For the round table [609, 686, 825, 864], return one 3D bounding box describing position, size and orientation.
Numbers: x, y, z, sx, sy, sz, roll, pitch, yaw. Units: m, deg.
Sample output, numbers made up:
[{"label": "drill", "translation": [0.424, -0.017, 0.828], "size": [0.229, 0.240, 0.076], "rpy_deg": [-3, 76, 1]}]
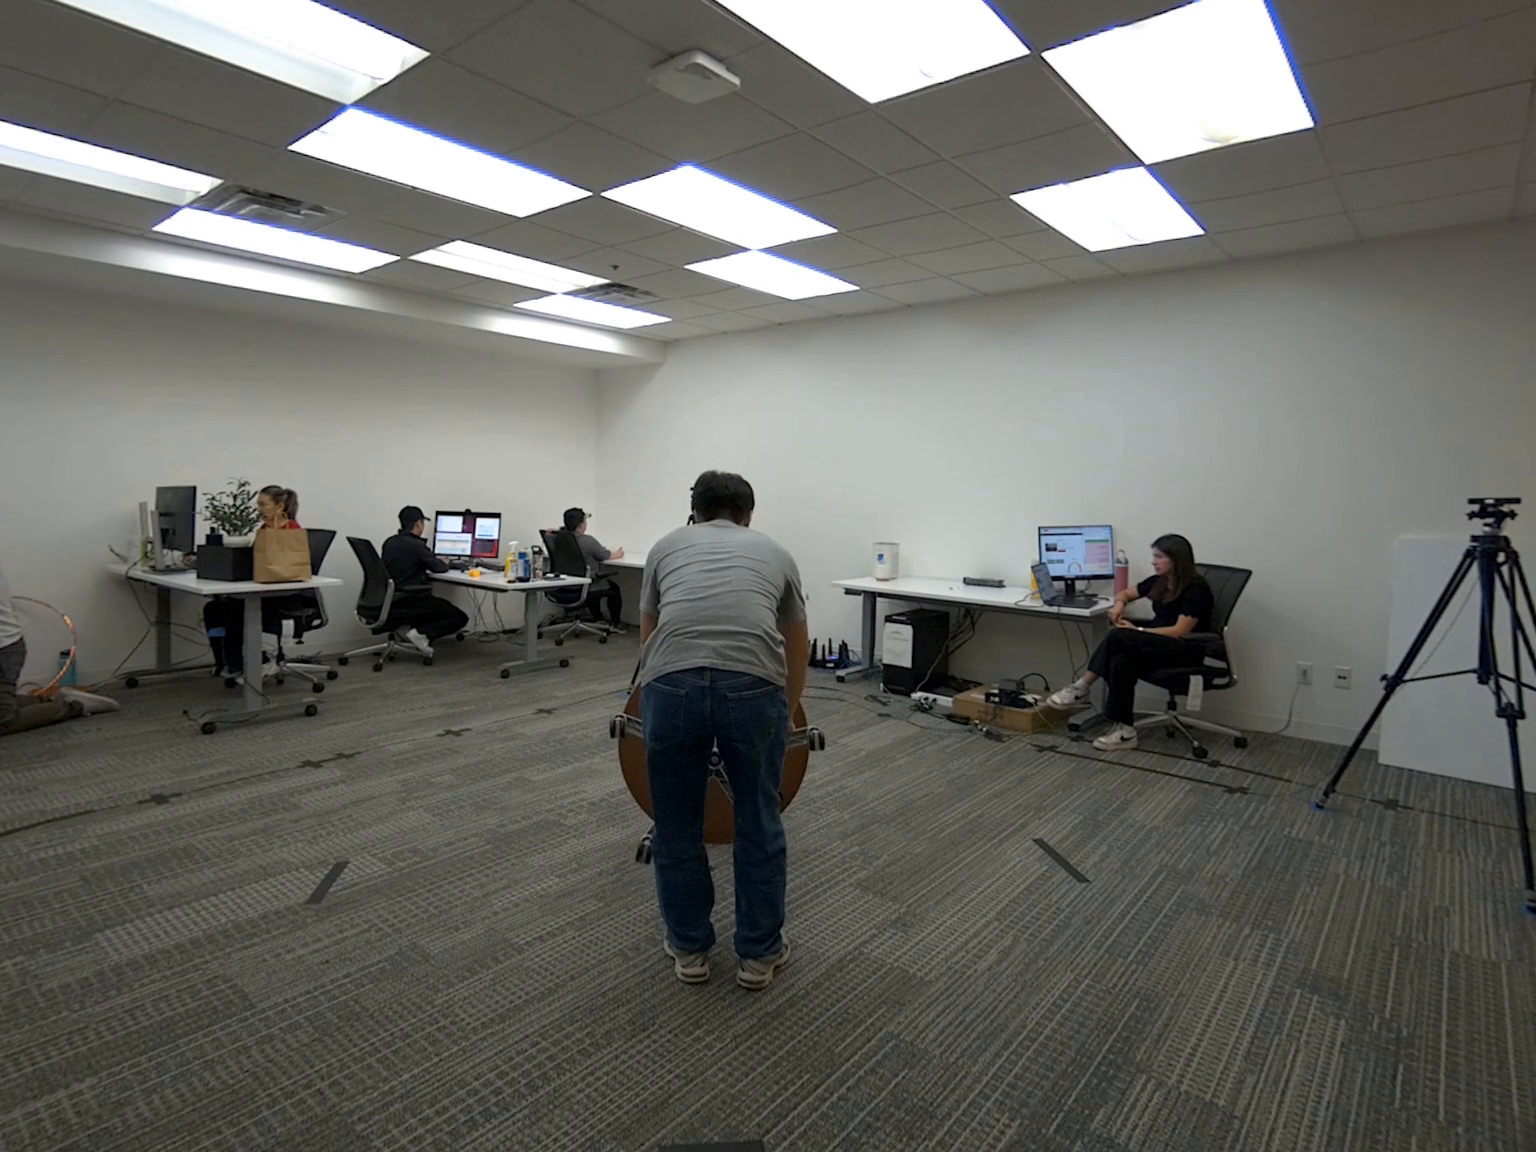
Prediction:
[{"label": "round table", "translation": [-0.194, 0.622, 3.019], "size": [0.763, 0.770, 0.789], "rpy_deg": [1, -7, -2]}]
